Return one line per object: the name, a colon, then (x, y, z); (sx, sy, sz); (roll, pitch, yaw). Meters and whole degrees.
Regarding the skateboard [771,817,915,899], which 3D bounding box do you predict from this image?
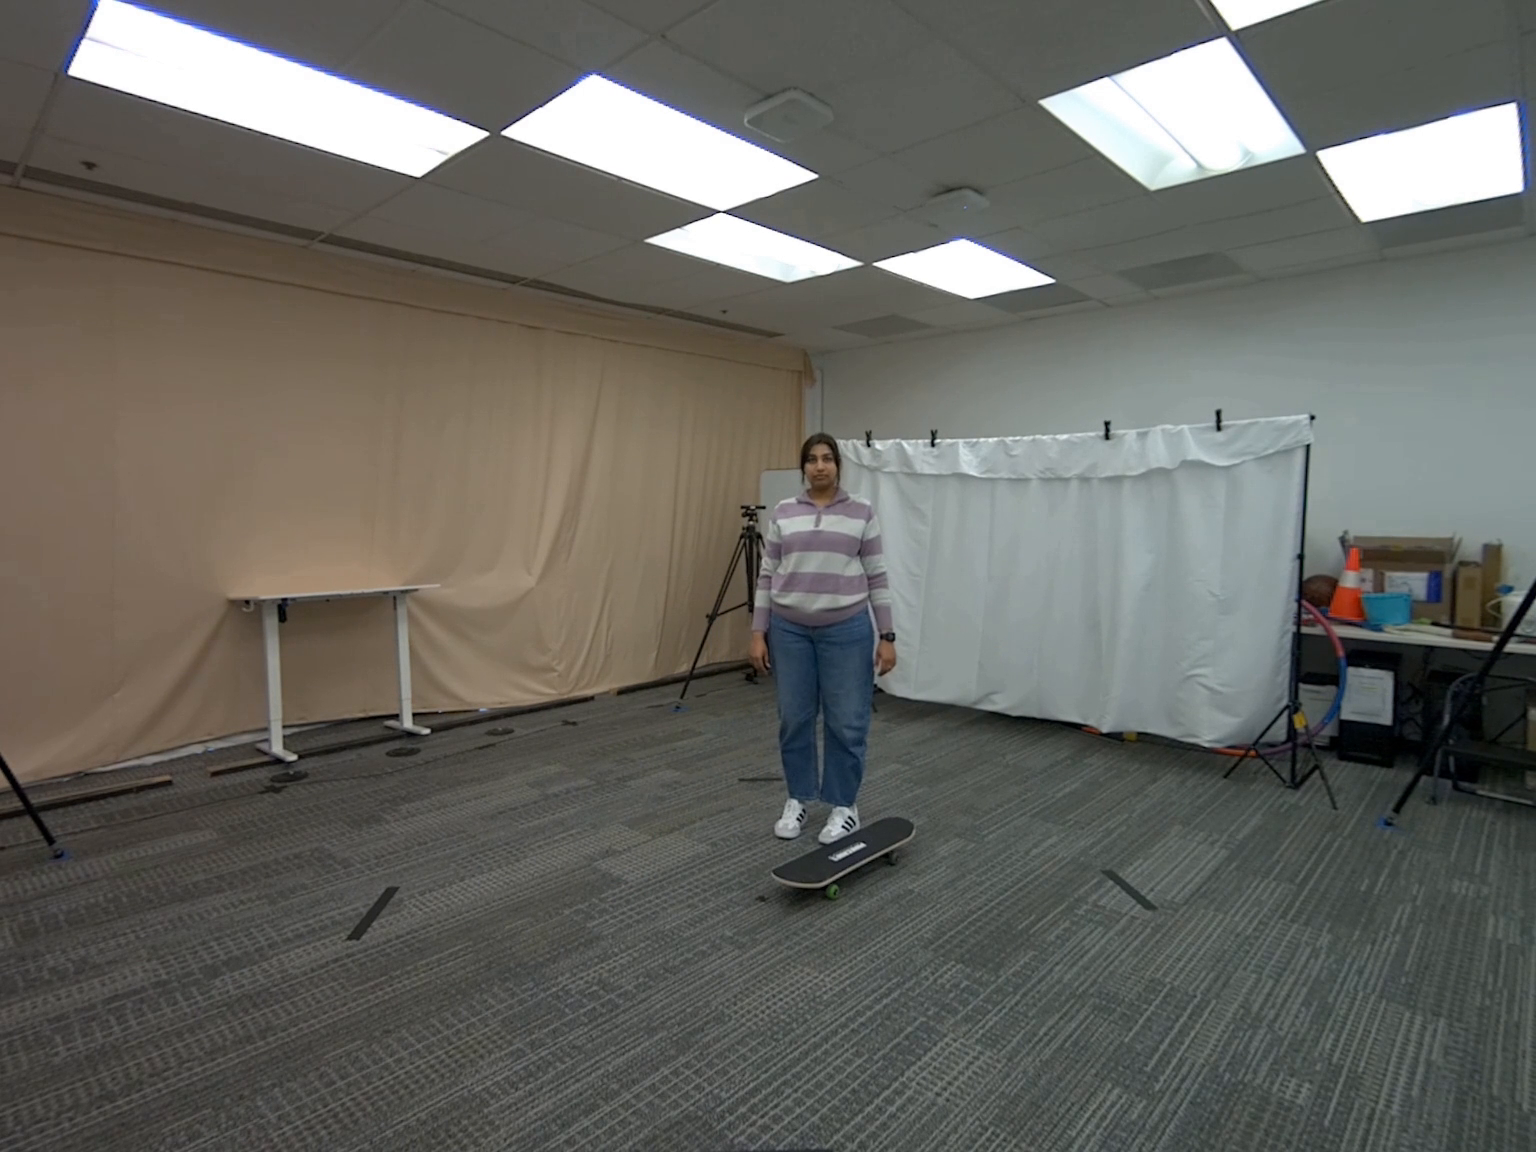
skateboard: (0.297, 1.065, 3.175); (0.200, 0.110, 0.762); (4, 6, 42)
